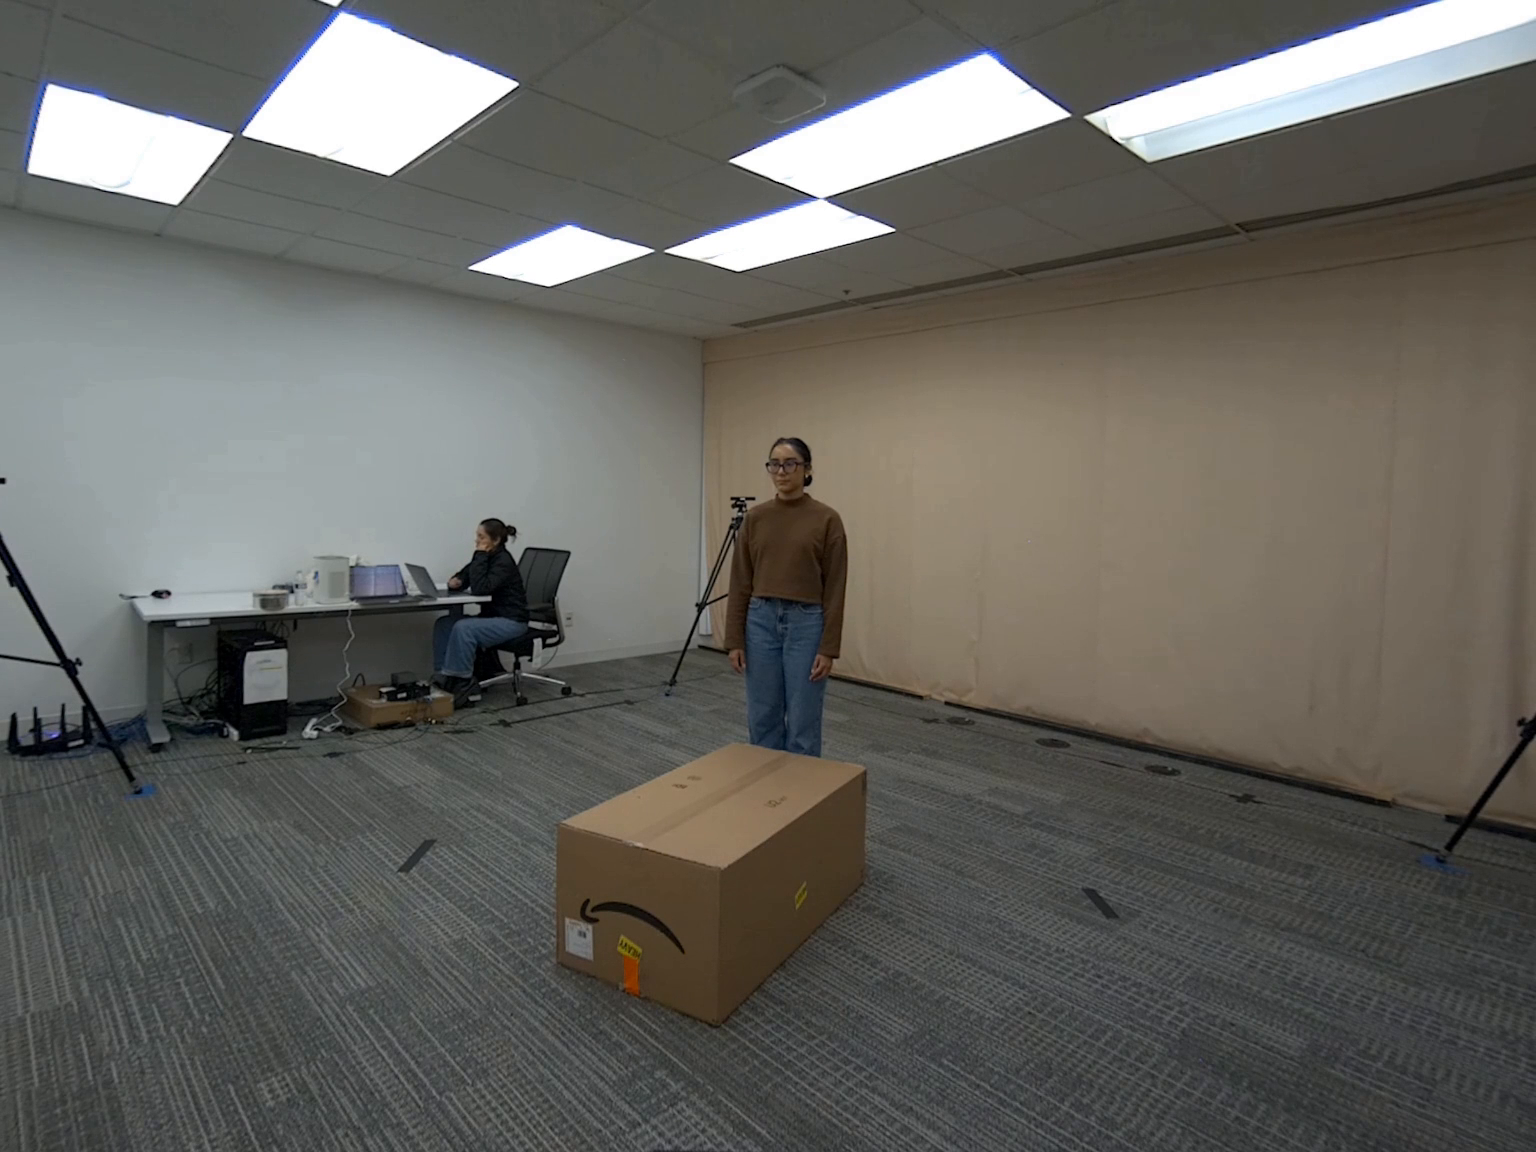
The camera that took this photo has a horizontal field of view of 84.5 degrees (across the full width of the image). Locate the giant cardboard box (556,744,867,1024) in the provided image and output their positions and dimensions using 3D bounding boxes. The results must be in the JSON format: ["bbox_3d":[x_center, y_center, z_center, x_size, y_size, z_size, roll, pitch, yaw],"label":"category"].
[{"bbox_3d":[-0.140,0.925,2.772,0.597,0.445,1.008,5,6,29],"label":"giant cardboard box"}]
